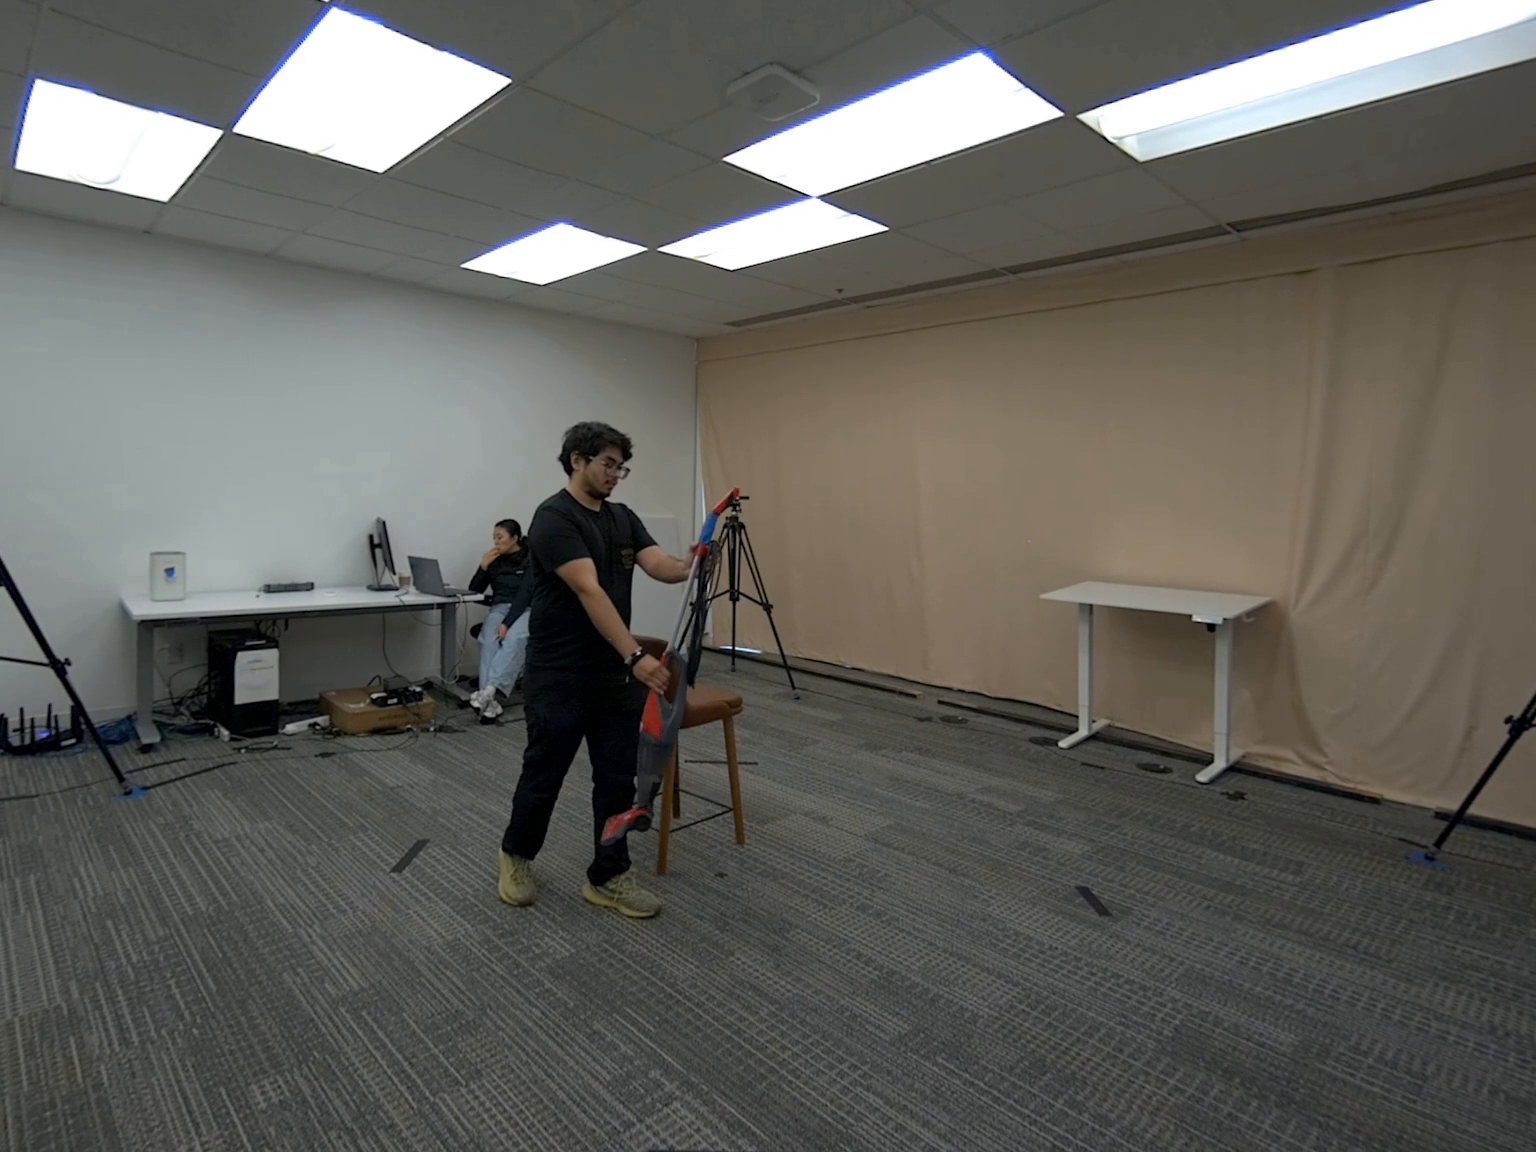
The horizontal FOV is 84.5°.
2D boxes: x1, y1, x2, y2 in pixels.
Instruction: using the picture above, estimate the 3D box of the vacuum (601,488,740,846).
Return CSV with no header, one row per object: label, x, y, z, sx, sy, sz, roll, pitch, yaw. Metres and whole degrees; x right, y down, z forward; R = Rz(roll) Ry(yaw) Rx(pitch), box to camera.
vacuum,-0.260,0.238,2.512,0.143,1.053,0.253,17,-7,-7
